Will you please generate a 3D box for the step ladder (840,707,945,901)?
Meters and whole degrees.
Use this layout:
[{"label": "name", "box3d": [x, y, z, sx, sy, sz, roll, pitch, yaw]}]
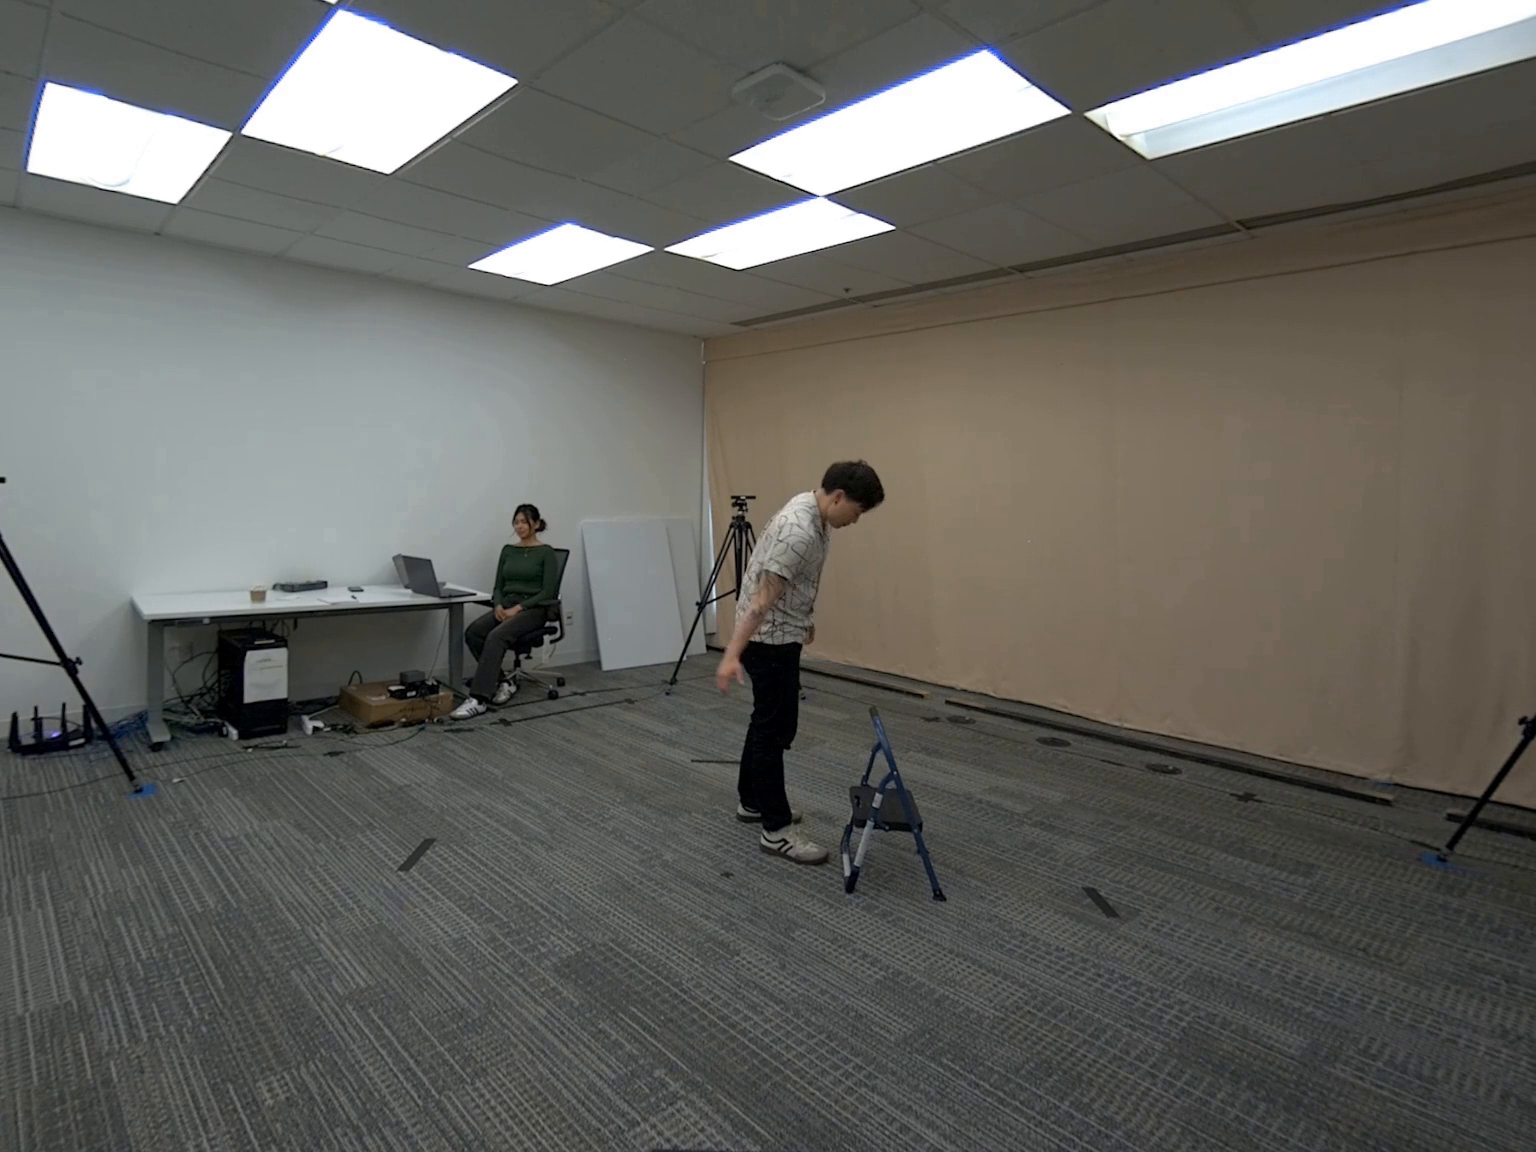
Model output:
[{"label": "step ladder", "box3d": [0.459, 0.813, 3.141, 0.350, 0.604, 0.430, 2, 4, 2]}]
